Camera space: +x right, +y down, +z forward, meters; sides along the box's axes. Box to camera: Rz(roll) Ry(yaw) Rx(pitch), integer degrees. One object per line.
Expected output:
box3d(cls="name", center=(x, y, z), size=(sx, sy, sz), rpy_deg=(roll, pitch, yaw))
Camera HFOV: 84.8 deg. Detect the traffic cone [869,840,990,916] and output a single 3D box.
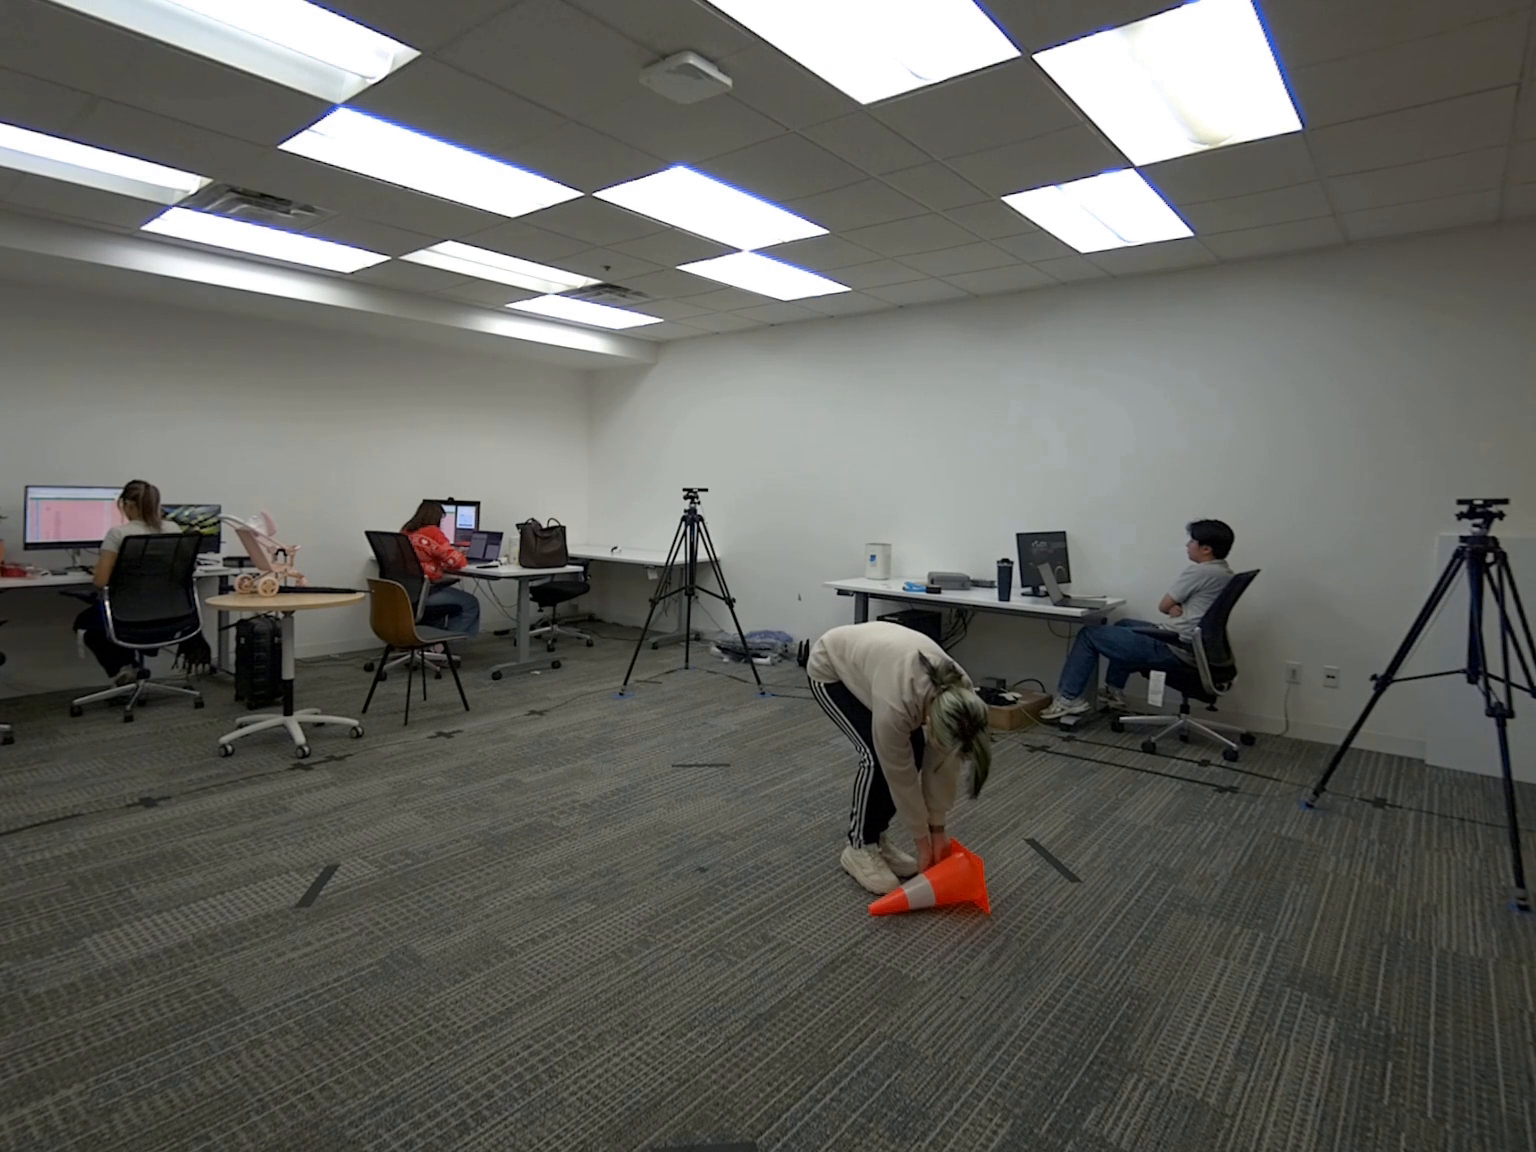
box3d(cls="traffic cone", center=(0.506, 1.058, 2.851), size=(0.378, 0.201, 0.210), rpy_deg=(-15, 9, -17))
